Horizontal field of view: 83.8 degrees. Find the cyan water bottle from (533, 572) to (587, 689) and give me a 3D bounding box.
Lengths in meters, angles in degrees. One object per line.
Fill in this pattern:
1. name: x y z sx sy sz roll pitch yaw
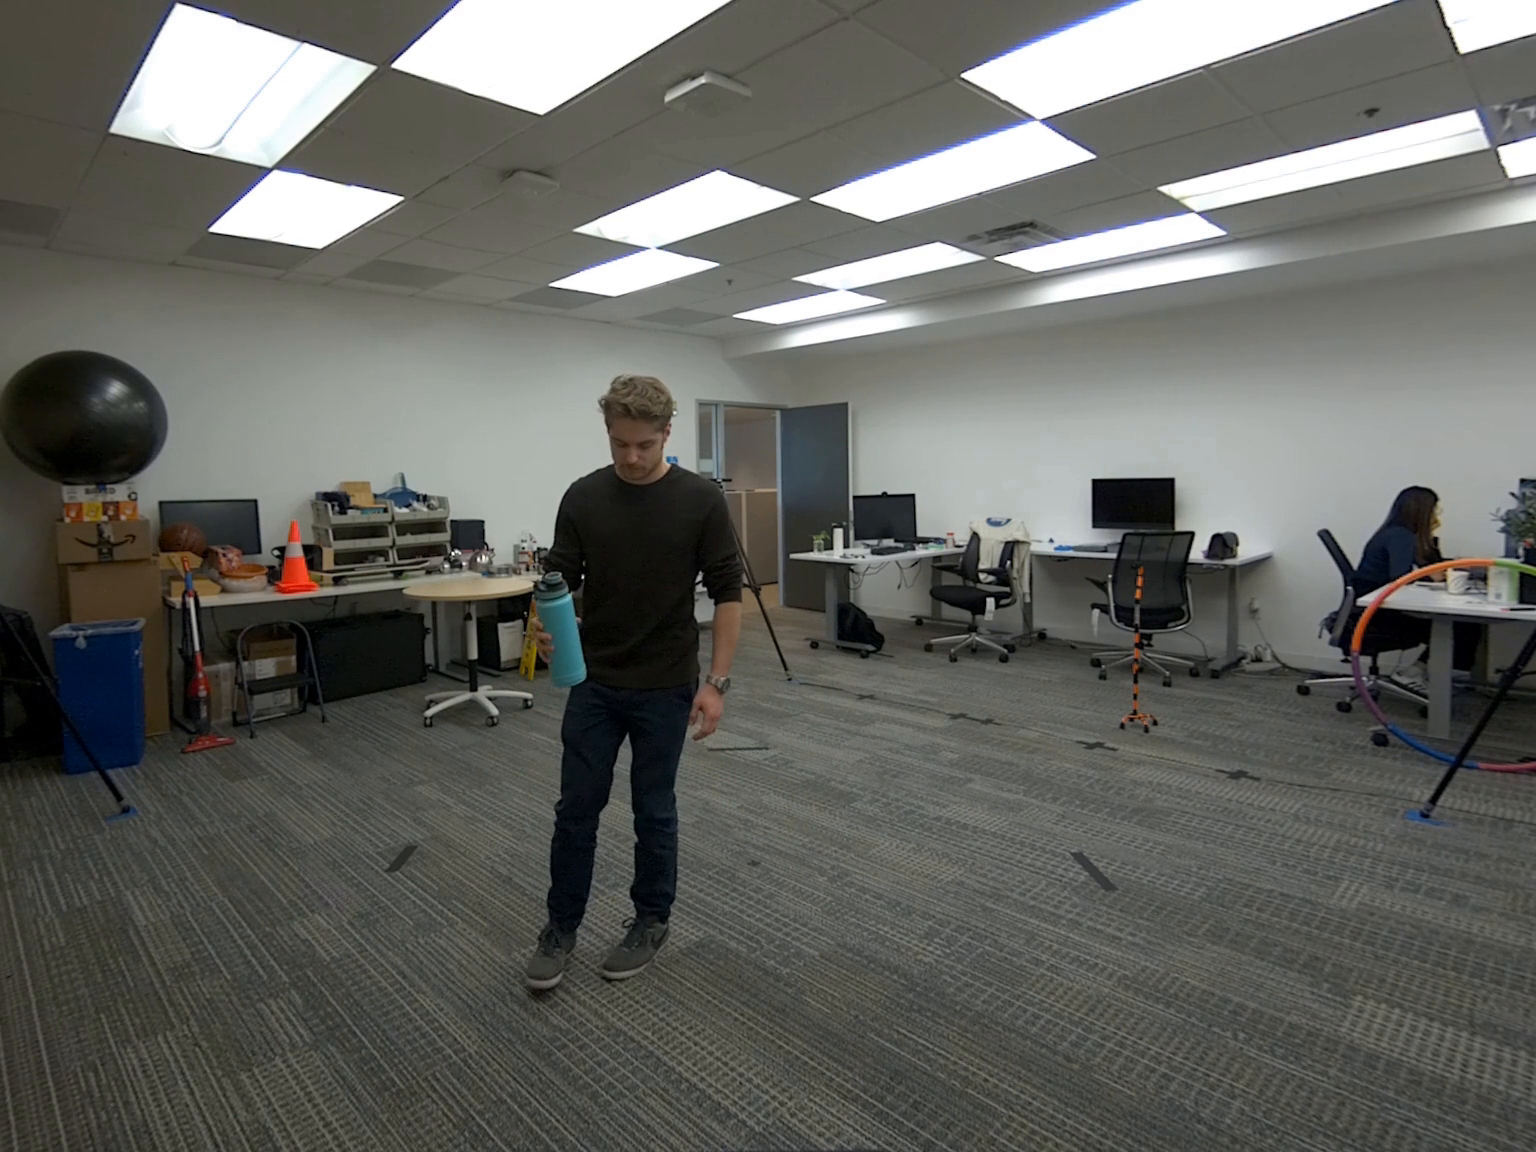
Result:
1. cyan water bottle: -0.520 0.132 2.111 0.092 0.279 0.094 -7 16 0
